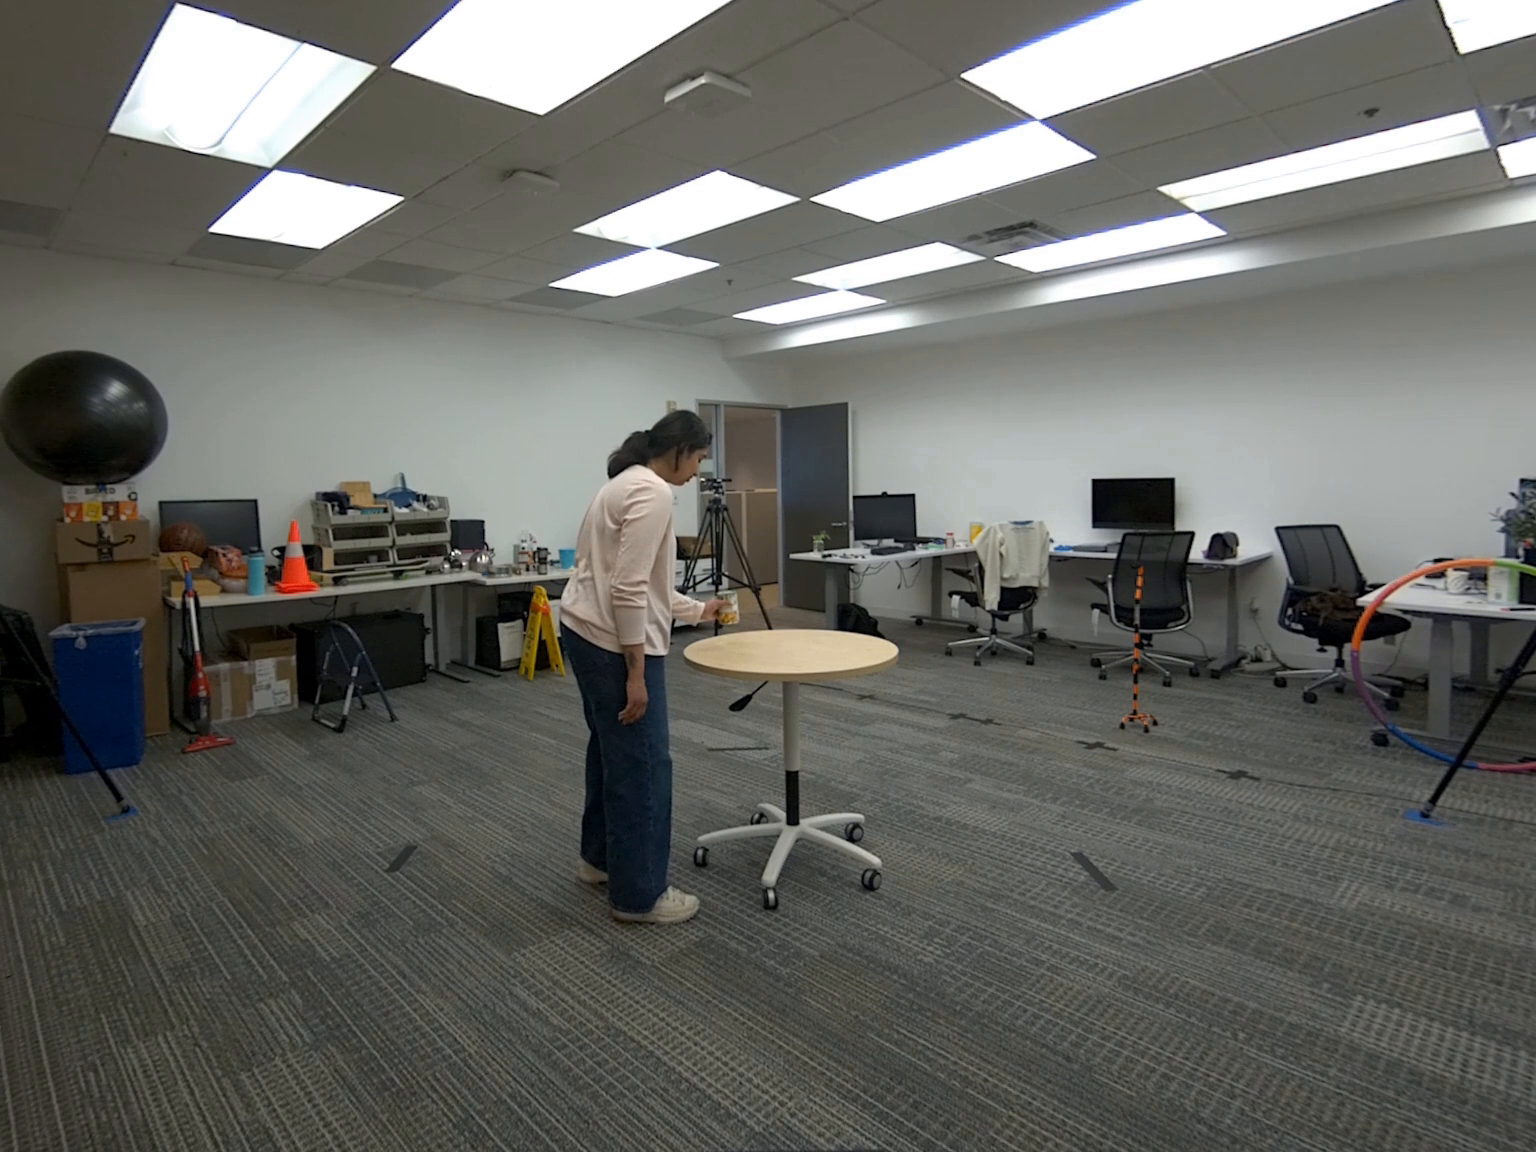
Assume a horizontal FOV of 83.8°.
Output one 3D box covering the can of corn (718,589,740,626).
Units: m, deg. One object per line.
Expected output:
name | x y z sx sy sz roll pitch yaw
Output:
can of corn | -0.140 0.112 3.126 0.074 0.110 0.074 -5 6 -1
